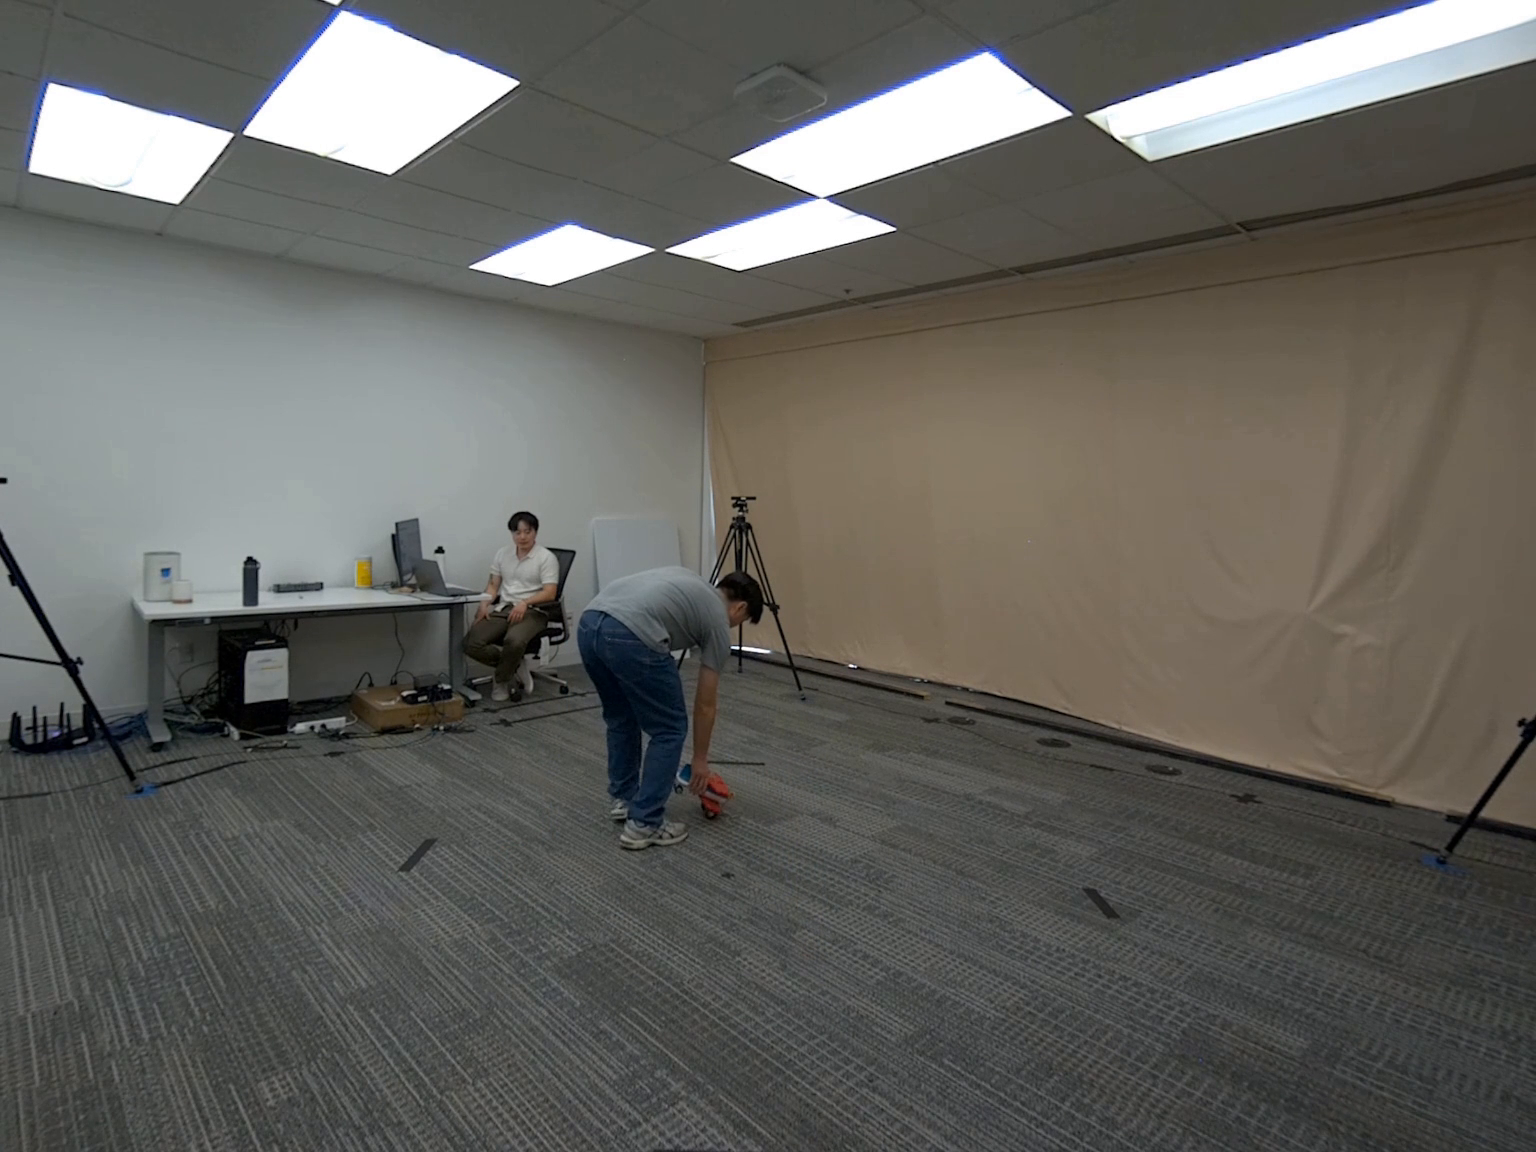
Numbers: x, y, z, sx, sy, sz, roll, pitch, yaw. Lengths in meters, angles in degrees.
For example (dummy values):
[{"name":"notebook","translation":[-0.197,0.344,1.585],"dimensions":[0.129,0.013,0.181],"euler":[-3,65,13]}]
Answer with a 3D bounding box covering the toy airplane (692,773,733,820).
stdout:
[{"name":"toy airplane","translation":[-0.290,0.942,3.669],"dimensions":[0.259,0.156,0.251],"euler":[35,-7,48]}]
